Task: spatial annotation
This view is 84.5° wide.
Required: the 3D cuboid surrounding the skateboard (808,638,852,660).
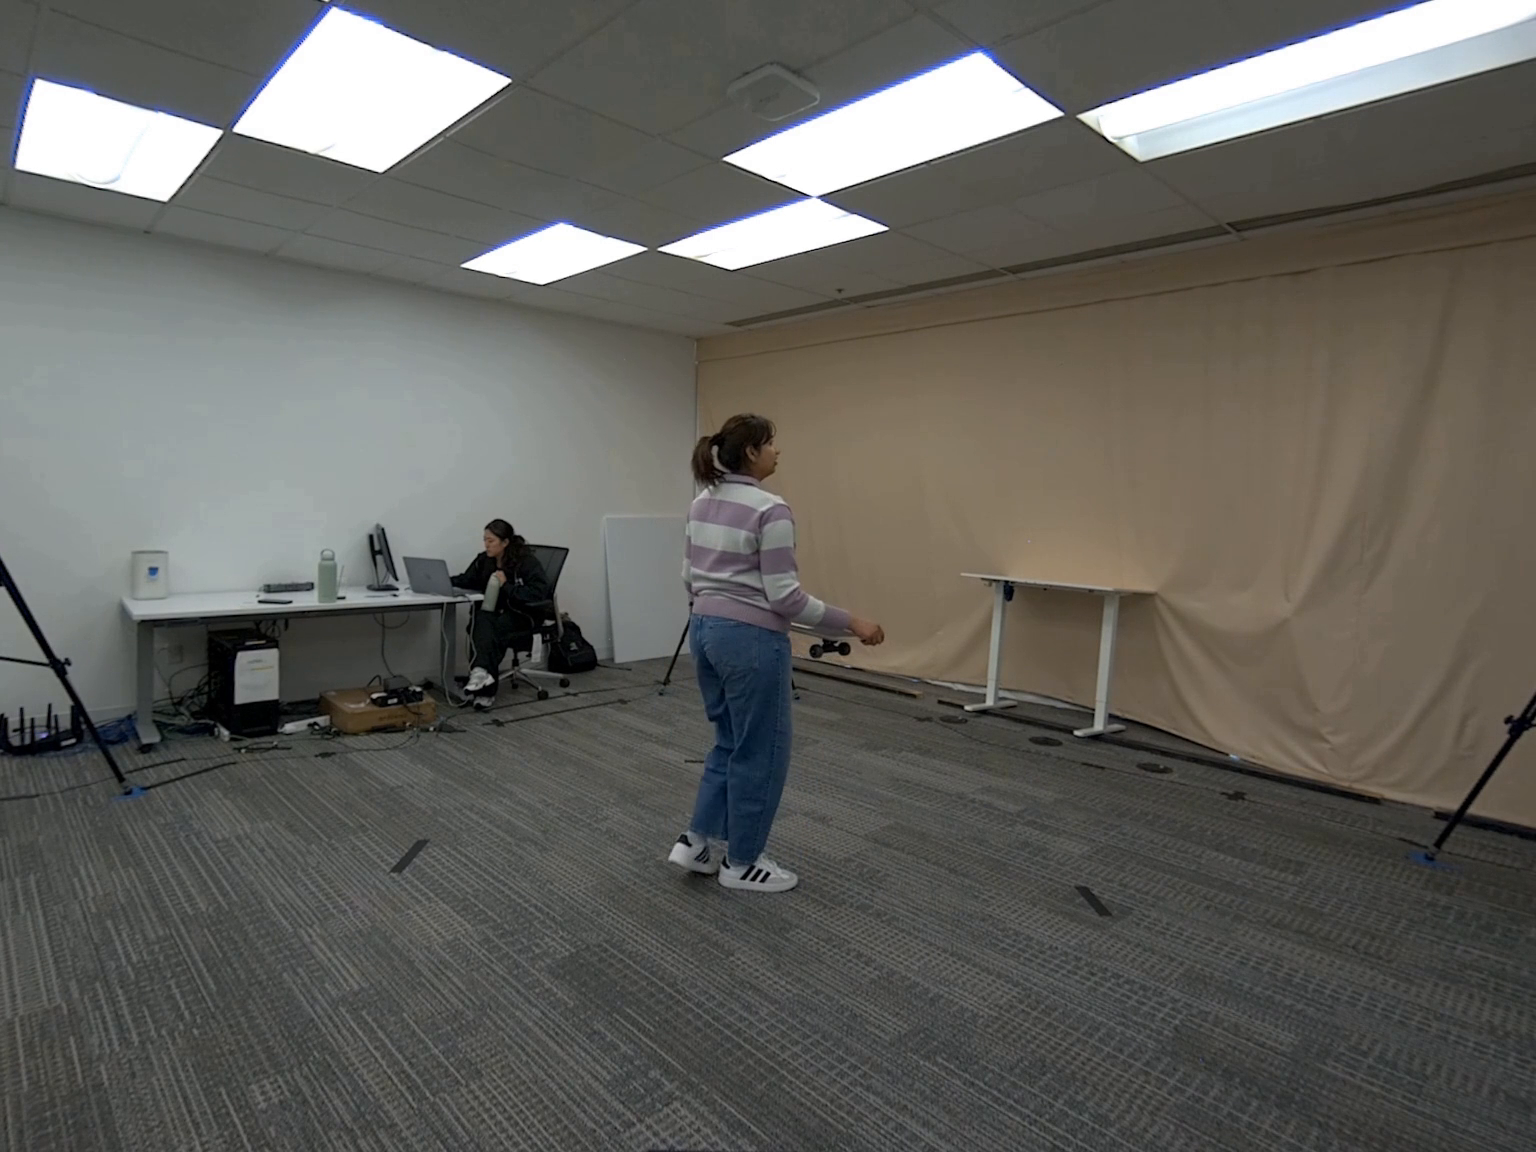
[{"bbox_3d":[0.096,0.216,3.166,0.188,0.110,0.806,4,3,-42],"label":"skateboard"}]
